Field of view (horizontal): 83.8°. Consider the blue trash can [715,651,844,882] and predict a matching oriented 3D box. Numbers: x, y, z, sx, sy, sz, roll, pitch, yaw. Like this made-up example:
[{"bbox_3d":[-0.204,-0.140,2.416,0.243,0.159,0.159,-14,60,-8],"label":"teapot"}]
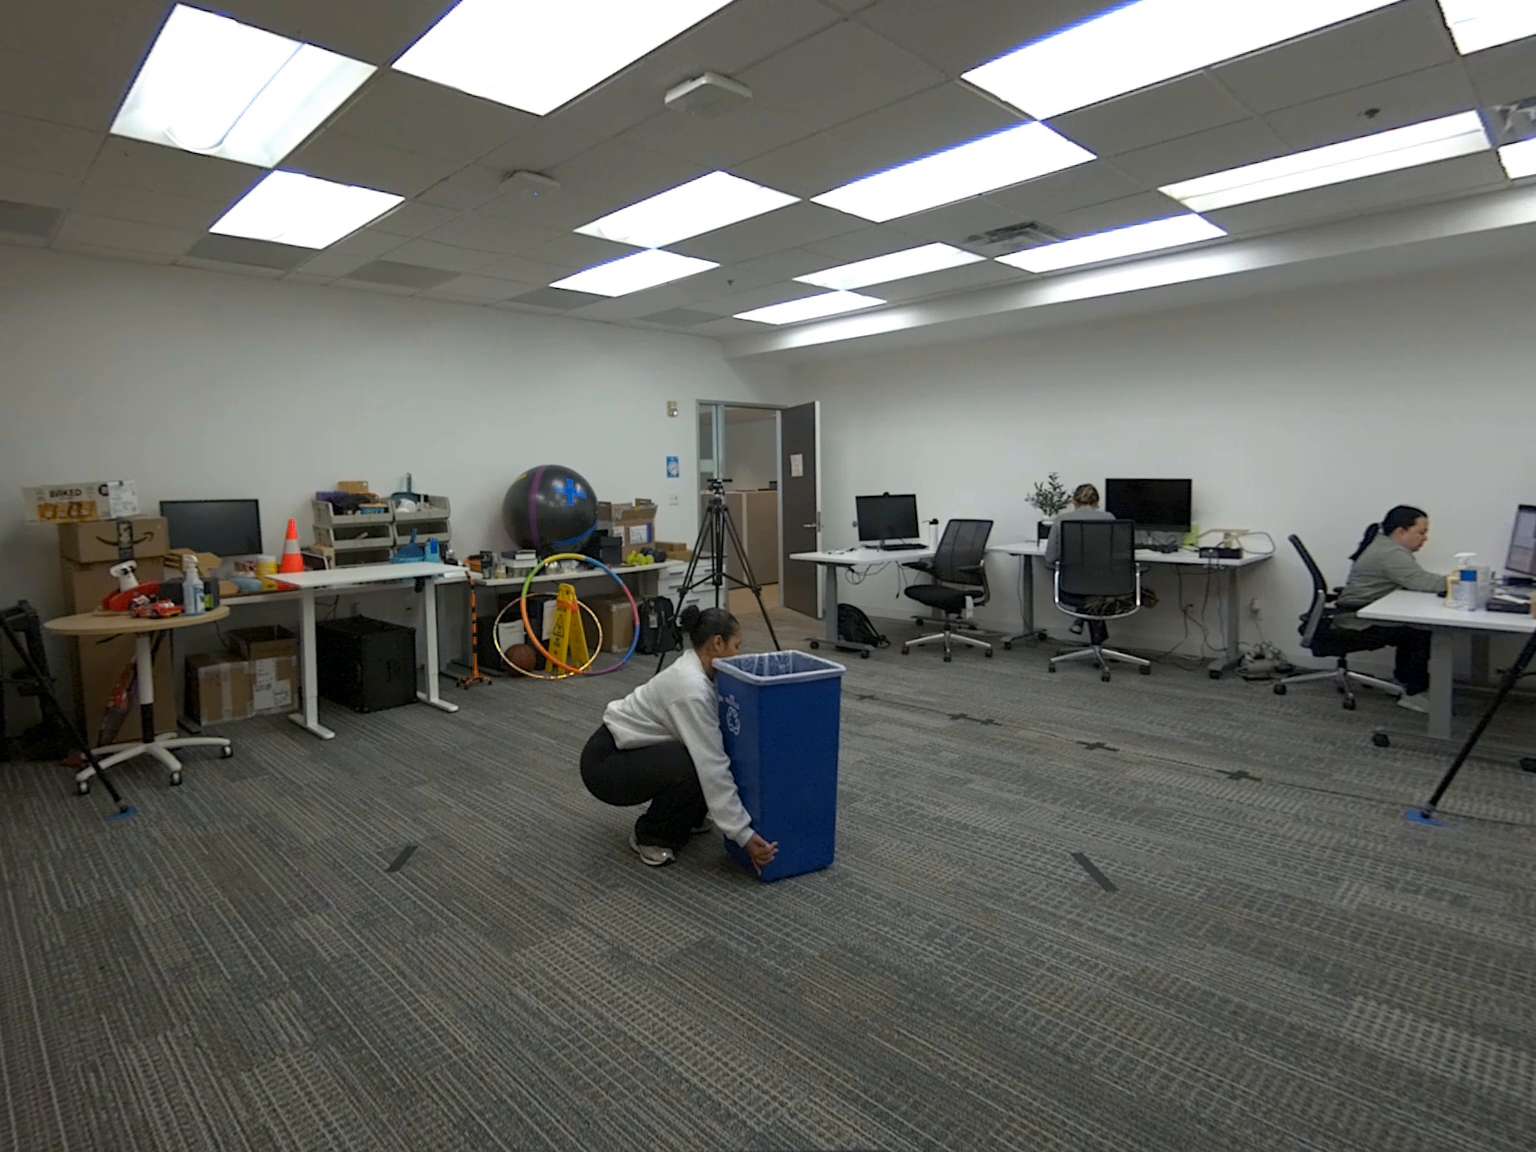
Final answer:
[{"bbox_3d":[0.036,0.663,3.094,0.366,0.711,0.388,-2,4,-27],"label":"blue trash can"}]
